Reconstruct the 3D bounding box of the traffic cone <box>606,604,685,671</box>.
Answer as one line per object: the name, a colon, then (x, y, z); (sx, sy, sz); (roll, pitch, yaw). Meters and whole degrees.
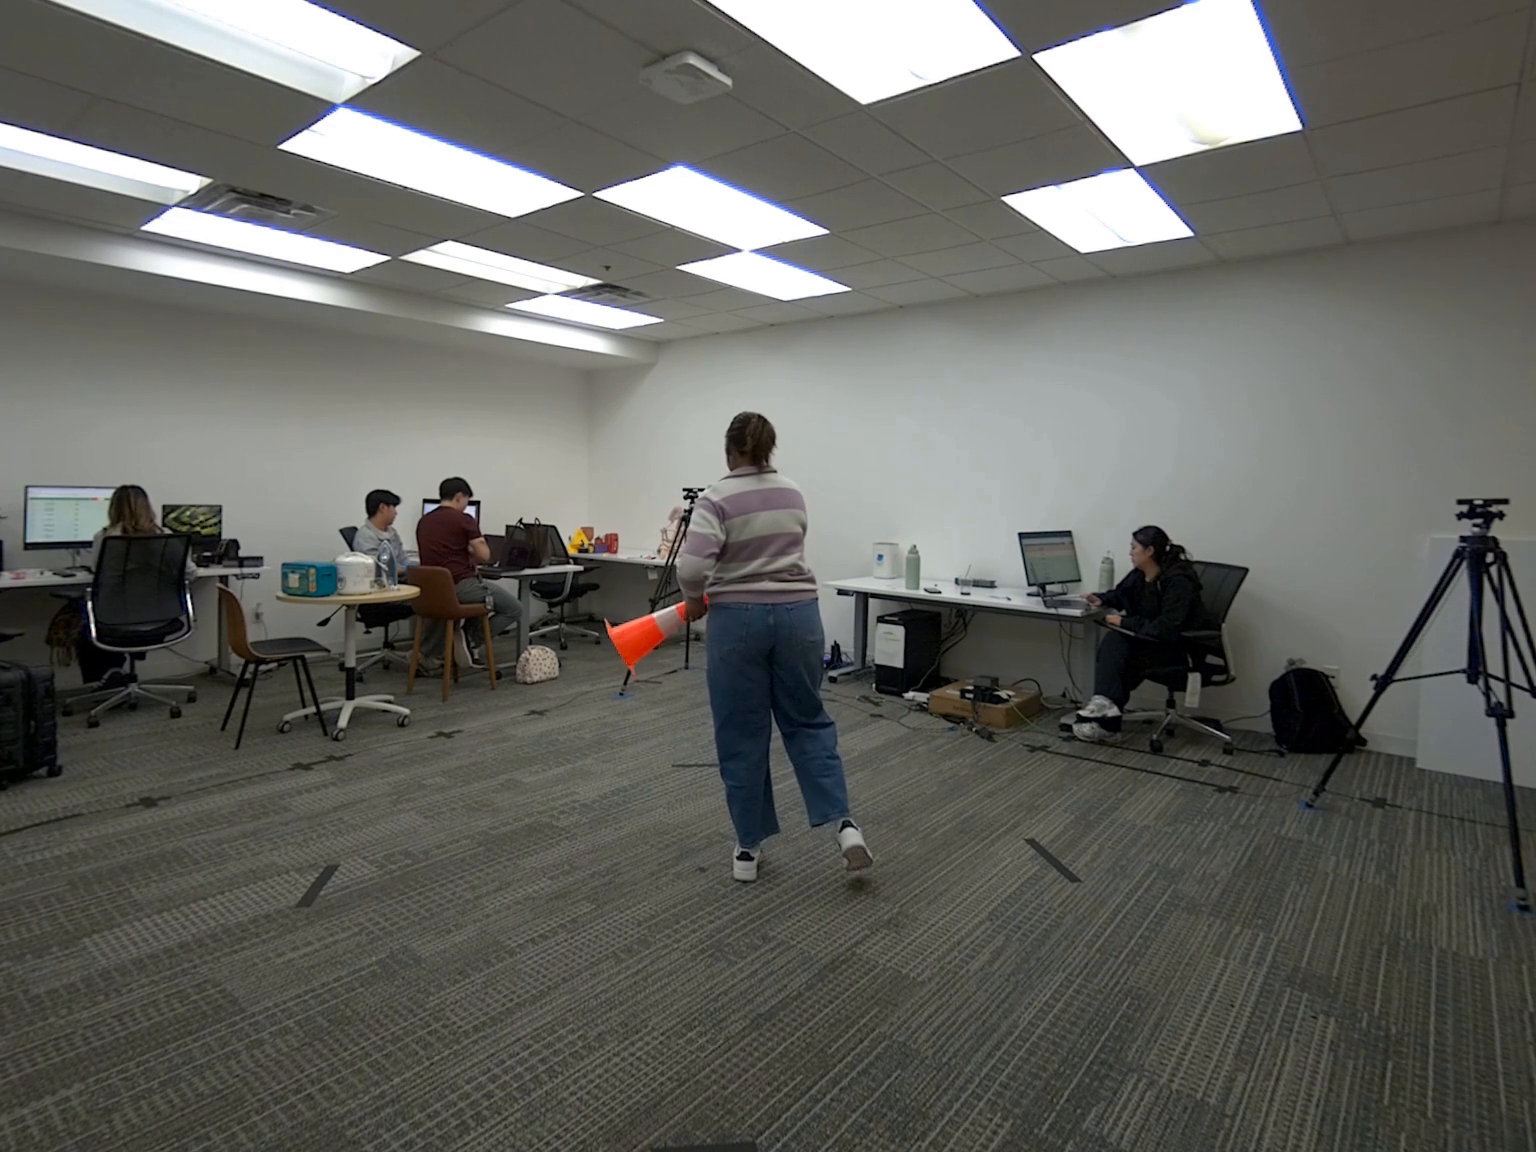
traffic cone: (-0.392, 0.174, 3.203); (0.383, 0.198, 0.210); (-29, 20, -1)
